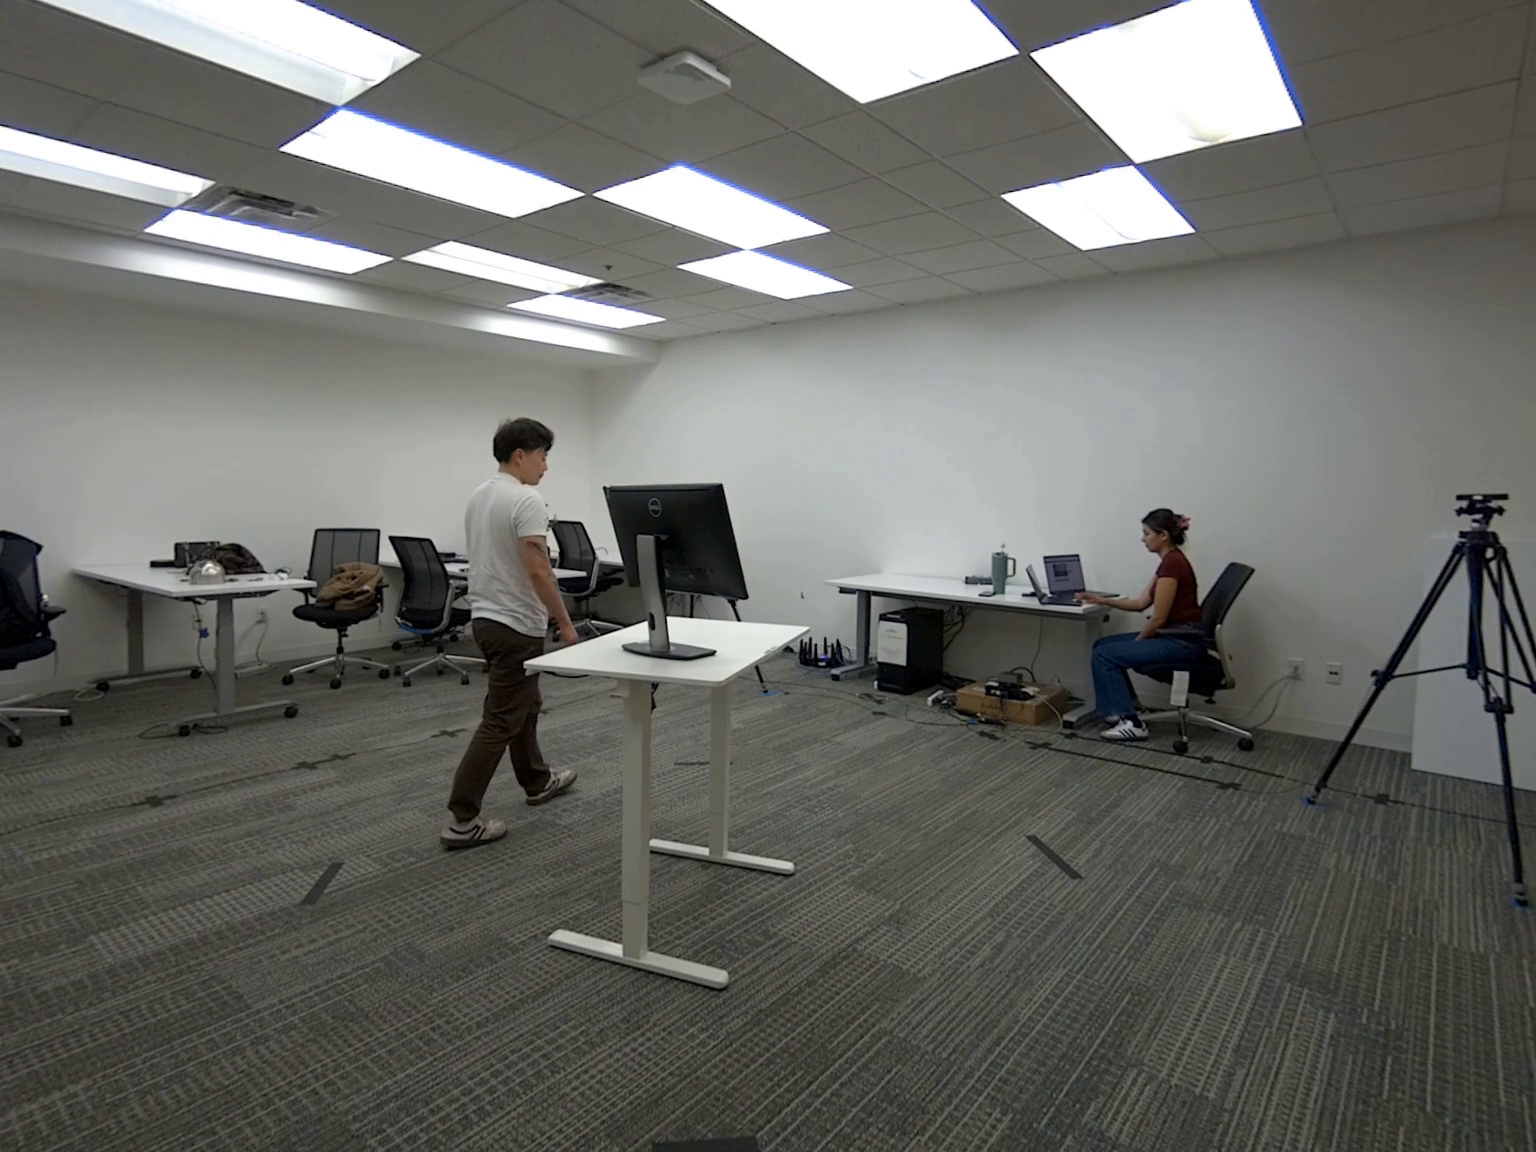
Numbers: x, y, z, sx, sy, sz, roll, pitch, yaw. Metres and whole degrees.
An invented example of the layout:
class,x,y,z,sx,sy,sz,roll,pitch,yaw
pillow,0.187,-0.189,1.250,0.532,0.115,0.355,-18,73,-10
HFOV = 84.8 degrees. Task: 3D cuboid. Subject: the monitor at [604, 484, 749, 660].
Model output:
class,x,y,z,sx,sy,sz,roll,pitch,yaw
monitor,-0.321,-0.020,2.592,0.557,0.519,0.182,3,8,41
